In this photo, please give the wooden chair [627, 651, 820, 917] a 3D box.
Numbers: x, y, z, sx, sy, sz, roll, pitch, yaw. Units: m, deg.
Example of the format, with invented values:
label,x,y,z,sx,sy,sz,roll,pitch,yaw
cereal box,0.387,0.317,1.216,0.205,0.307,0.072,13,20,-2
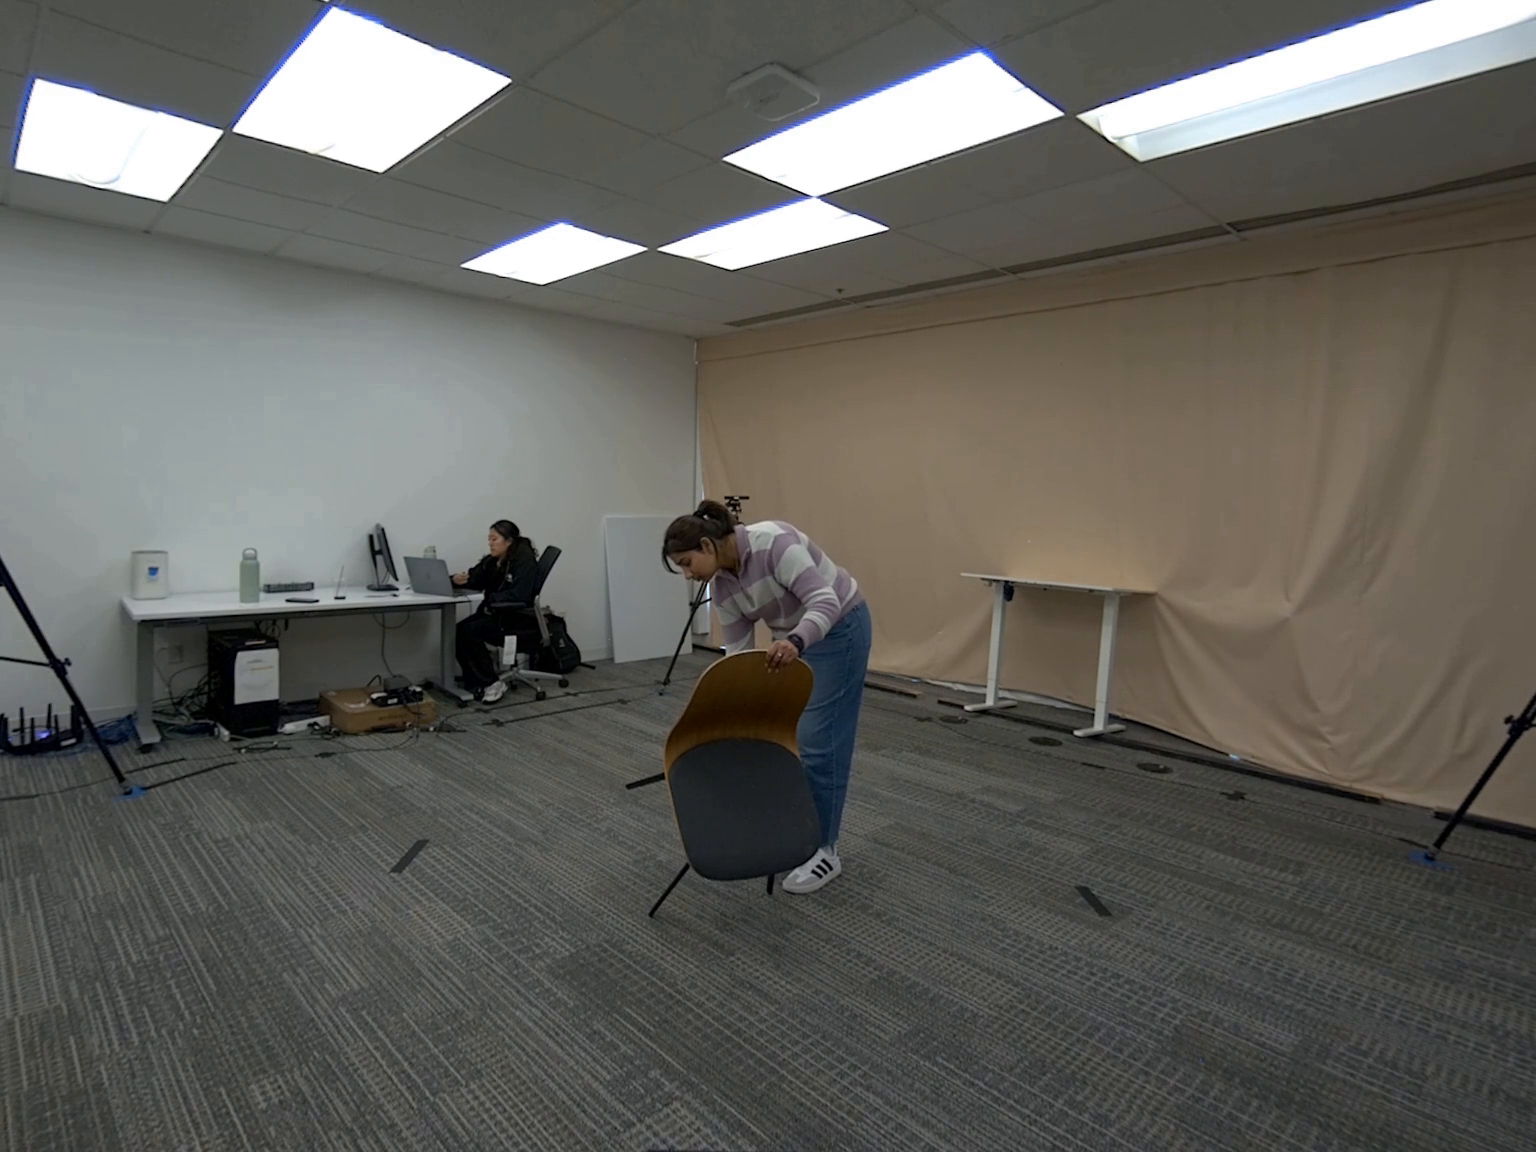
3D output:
label,x,y,z,sx,sy,sz,roll,pitch,yaw
wooden chair,-0.105,0.702,2.679,0.469,0.537,0.870,1,-40,-26
